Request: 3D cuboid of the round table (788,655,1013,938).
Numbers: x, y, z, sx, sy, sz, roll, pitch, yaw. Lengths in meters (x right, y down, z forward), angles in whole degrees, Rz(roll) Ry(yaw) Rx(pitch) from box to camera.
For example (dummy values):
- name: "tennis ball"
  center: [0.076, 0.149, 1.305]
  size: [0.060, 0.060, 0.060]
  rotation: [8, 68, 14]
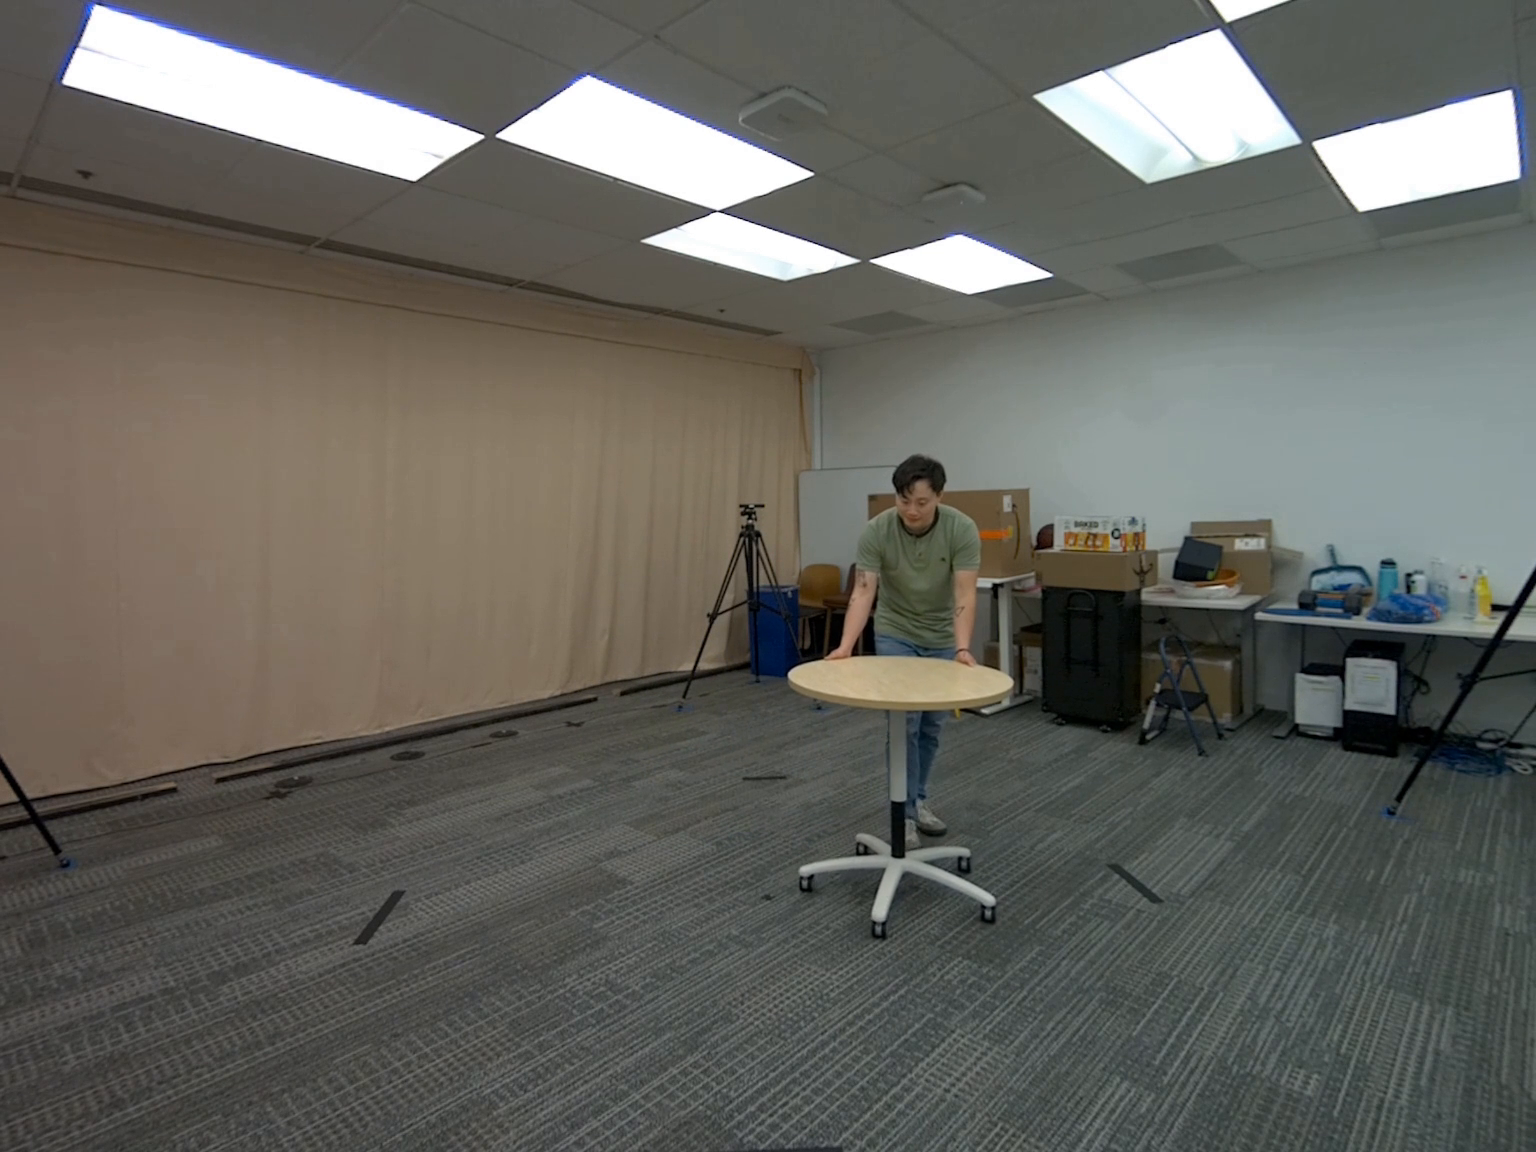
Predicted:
- name: "round table"
  center: [0.457, 0.744, 2.967]
  size: [0.763, 0.792, 0.767]
  rotation: [-1, 4, -2]
